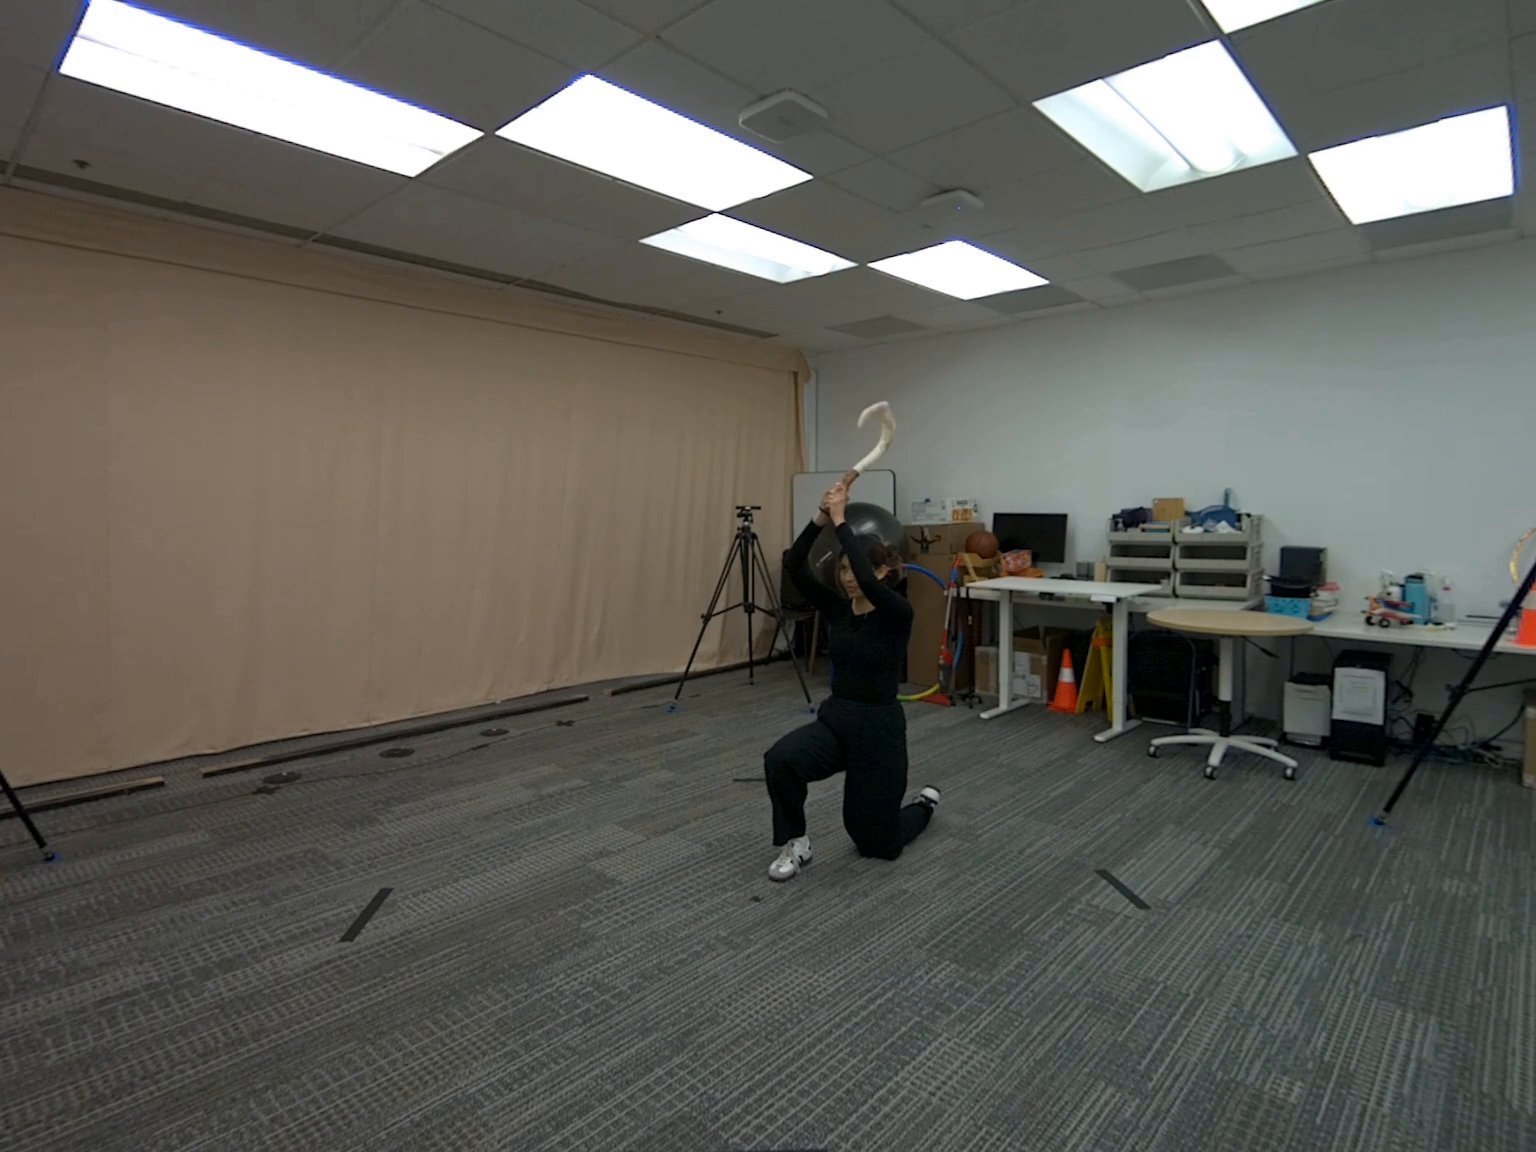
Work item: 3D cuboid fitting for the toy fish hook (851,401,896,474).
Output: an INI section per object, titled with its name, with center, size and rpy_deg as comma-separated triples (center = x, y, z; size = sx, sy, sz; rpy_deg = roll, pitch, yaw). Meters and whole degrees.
[toy fish hook]
center = 0.333, -0.438, 3.200
size = 0.050, 0.505, 0.217
rpy_deg = 9, -36, 44
